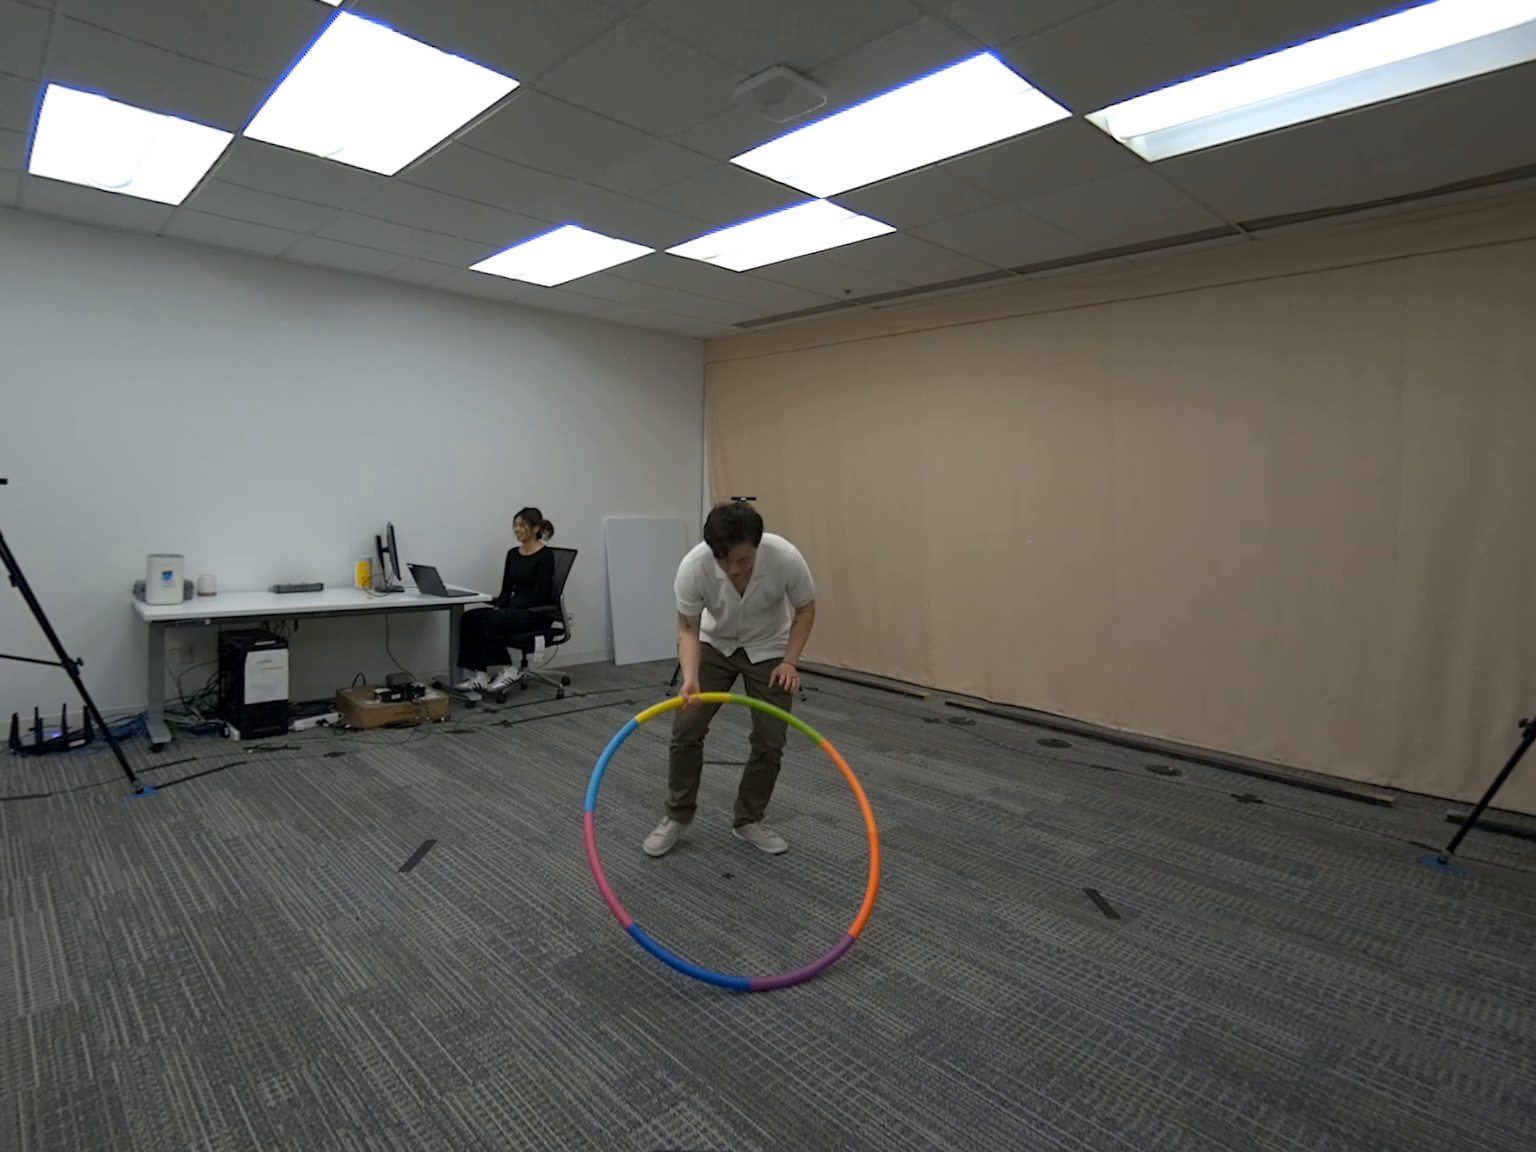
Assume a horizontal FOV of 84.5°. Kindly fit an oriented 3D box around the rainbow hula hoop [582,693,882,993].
[{"bbox_3d":[-0.107,0.809,2.718,0.968,0.035,1.001,10,44,-12],"label":"rainbow hula hoop"}]
